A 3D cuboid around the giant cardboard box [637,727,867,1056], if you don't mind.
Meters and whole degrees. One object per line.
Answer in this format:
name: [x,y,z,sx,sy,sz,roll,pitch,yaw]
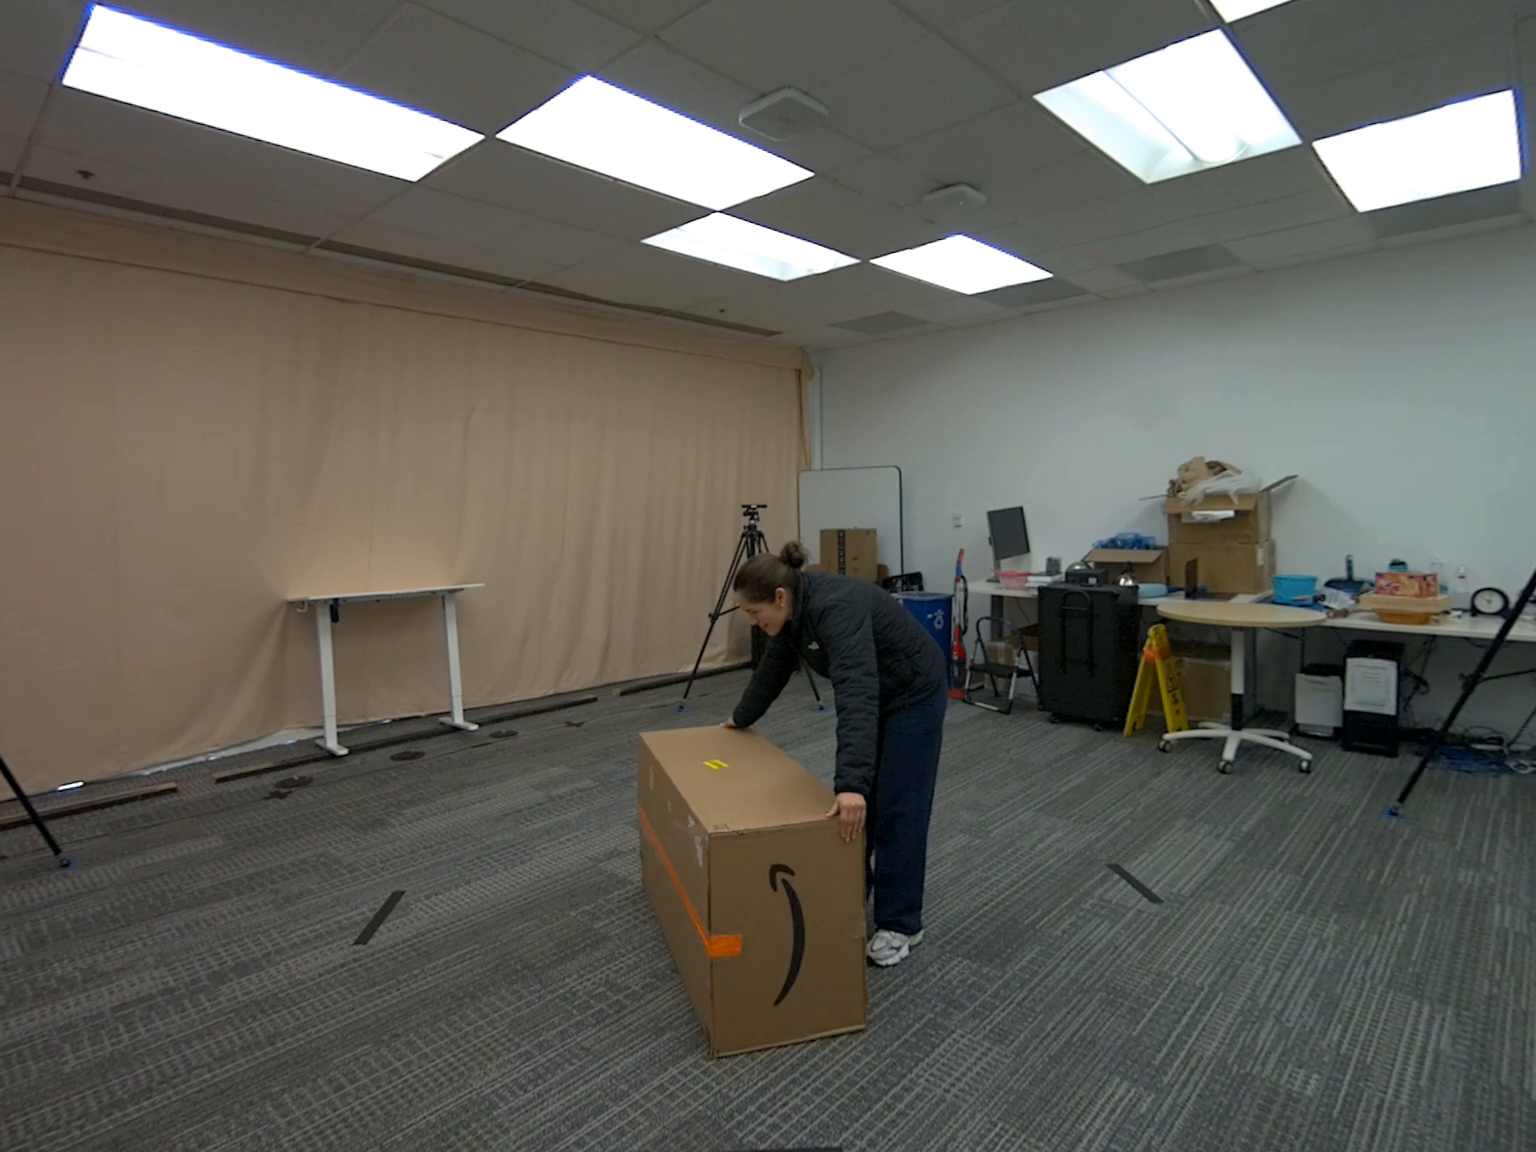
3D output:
giant cardboard box: [-0.094,0.880,2.650,0.439,0.583,1.047,-3,4,-18]
